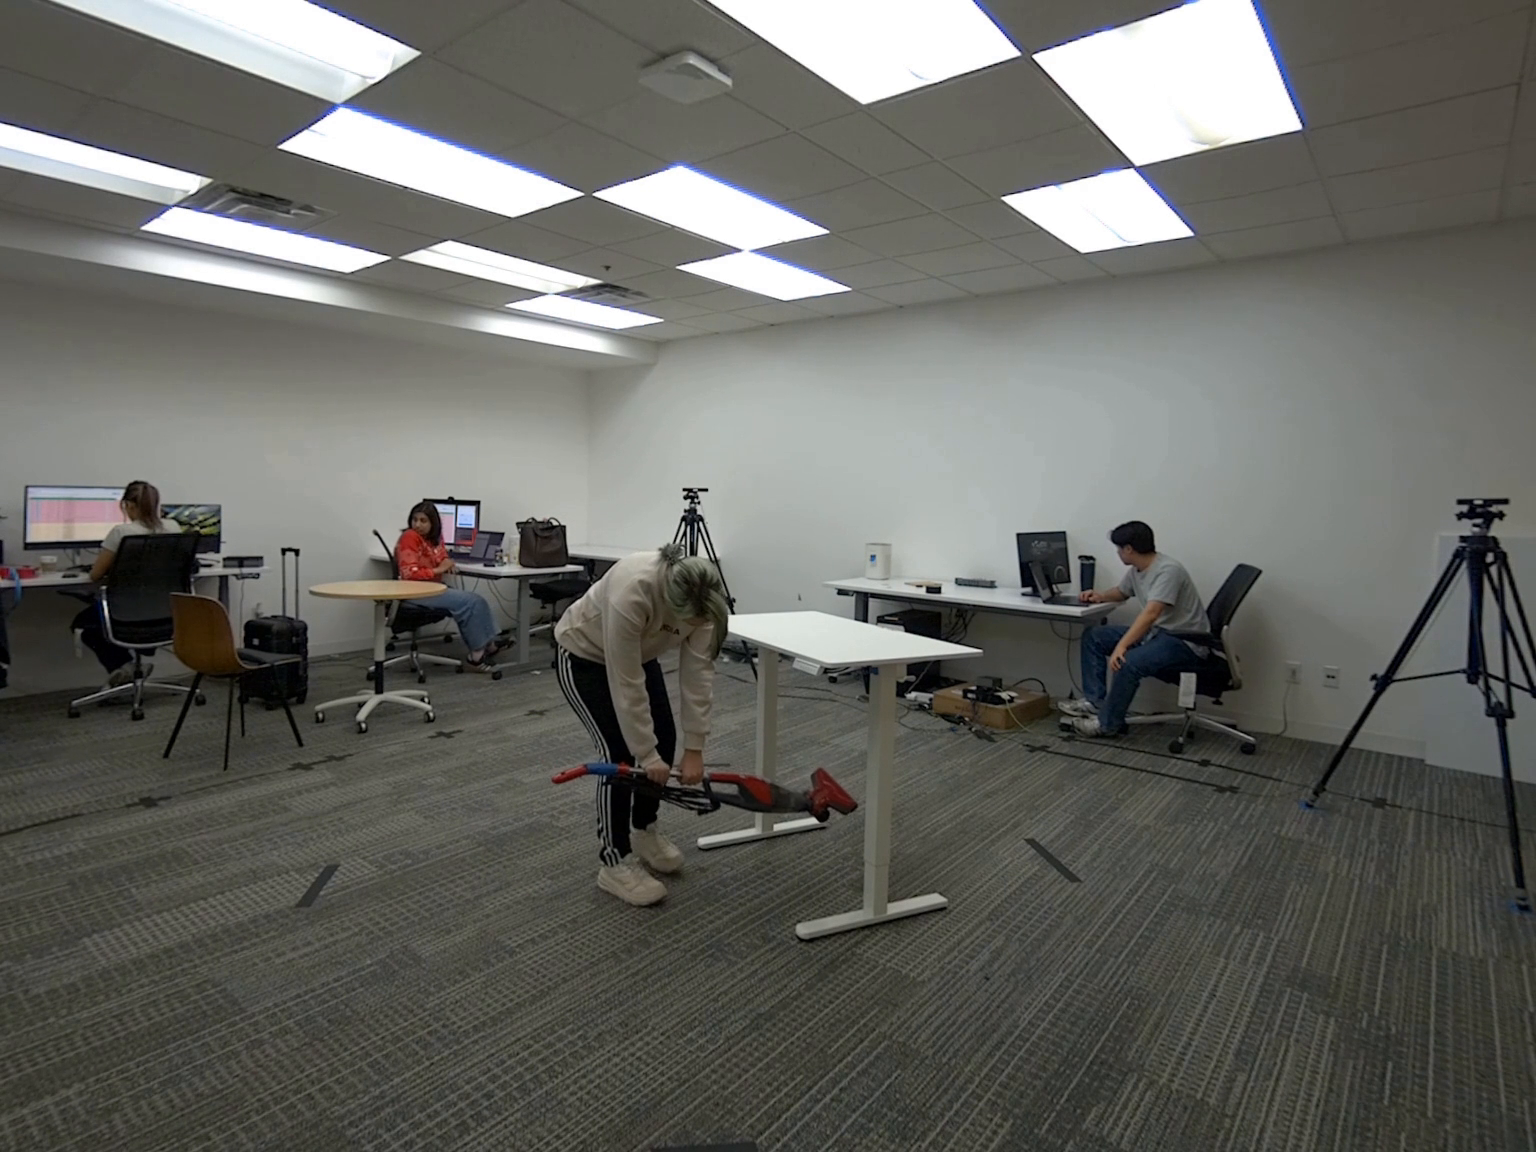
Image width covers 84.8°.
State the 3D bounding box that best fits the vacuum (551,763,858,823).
[{"bbox_3d":[-0.222,0.714,2.844,1.016,0.143,0.262,13,13,-29],"label":"vacuum"}]
